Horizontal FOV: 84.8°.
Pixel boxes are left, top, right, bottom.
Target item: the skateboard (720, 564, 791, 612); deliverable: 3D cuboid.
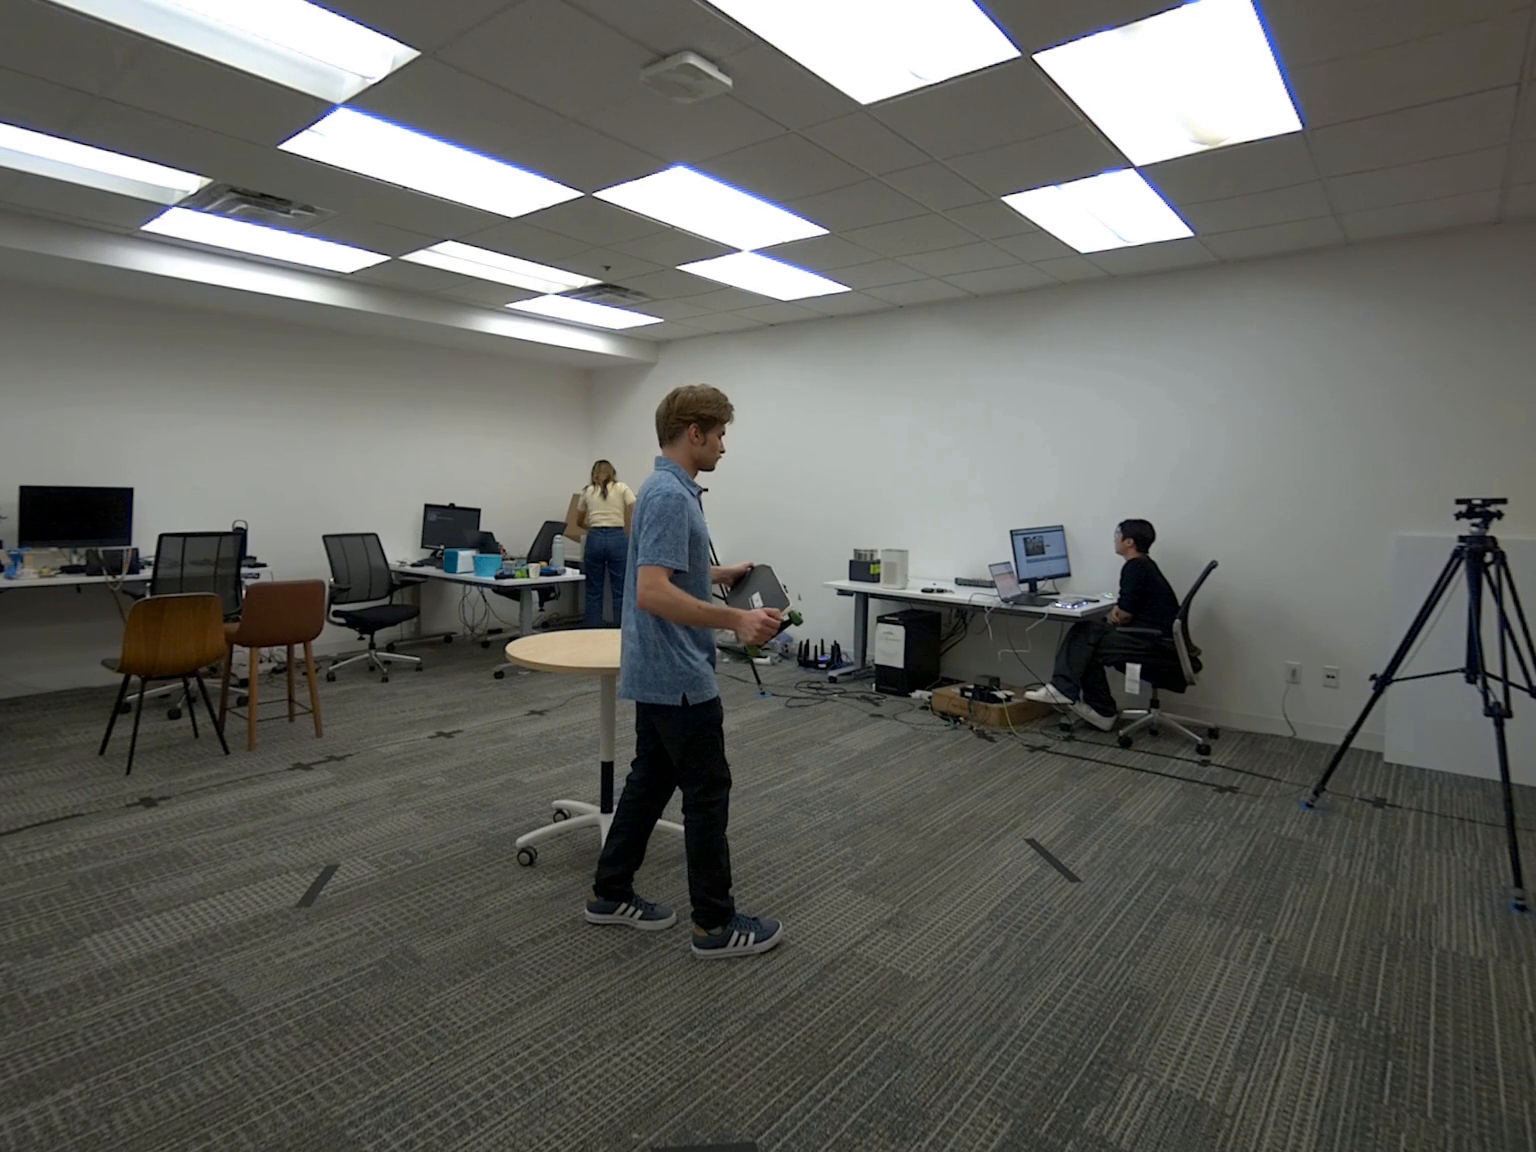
[{"bbox_3d":[-0.029,0.104,2.680,0.193,0.108,0.797,-37,13,1],"label":"skateboard"}]
